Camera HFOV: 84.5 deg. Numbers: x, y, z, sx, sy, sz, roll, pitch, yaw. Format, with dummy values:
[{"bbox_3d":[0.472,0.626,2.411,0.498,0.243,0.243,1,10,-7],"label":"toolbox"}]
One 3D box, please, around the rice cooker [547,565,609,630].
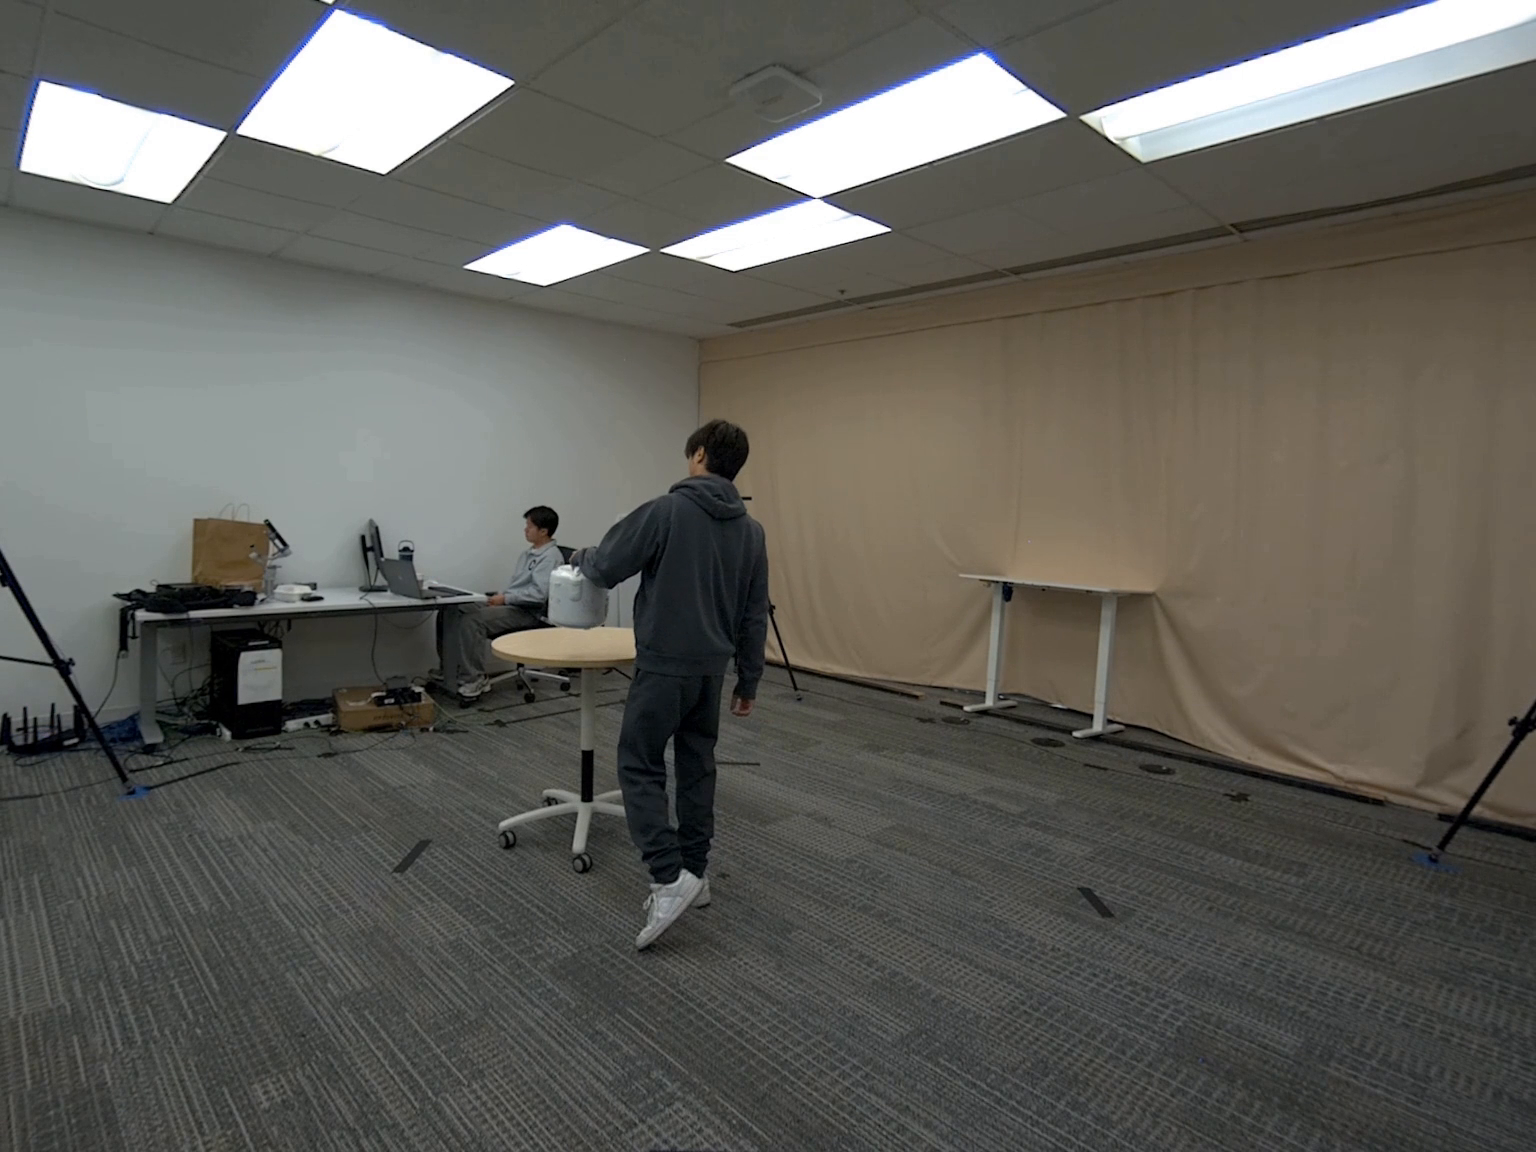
[{"bbox_3d":[-0.687,0.063,3.056,0.217,0.231,0.222,3,9,-3],"label":"rice cooker"}]
